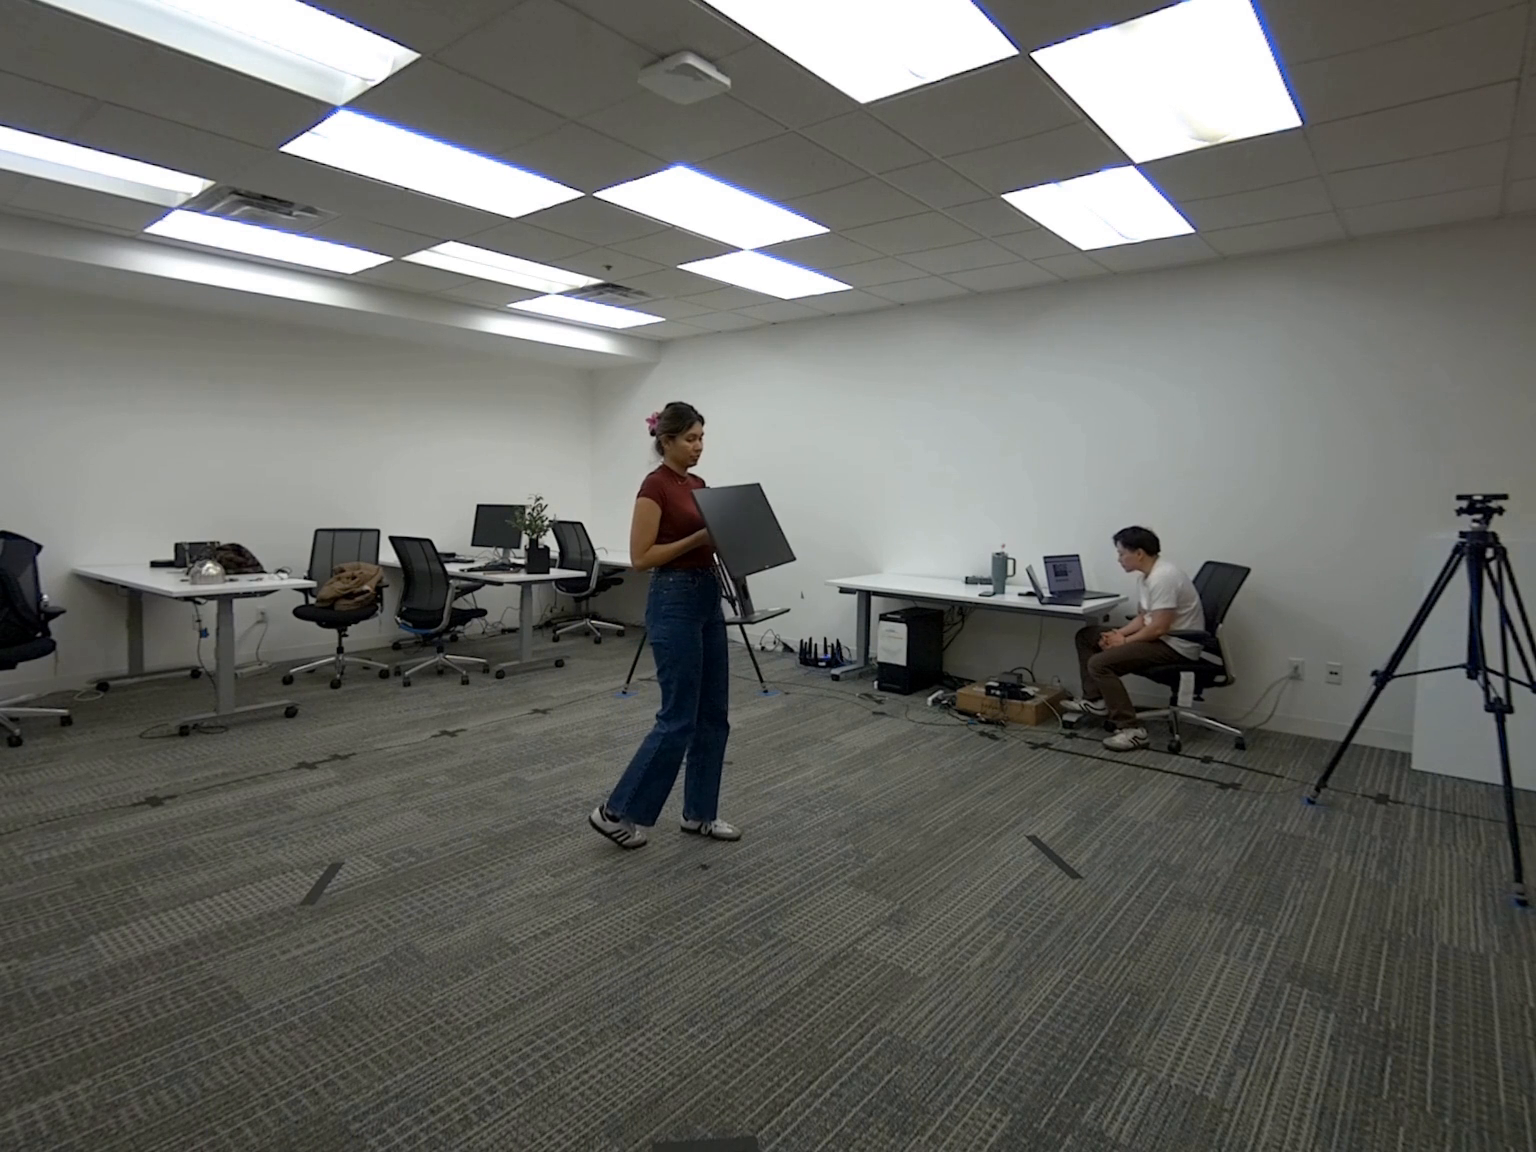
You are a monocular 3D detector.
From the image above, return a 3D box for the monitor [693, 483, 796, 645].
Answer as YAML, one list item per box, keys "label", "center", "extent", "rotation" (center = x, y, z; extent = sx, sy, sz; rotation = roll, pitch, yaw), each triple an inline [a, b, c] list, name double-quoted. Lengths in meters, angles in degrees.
- label: "monitor"
  center: [-0.099, -0.088, 3.236]
  extent: [0.191, 0.523, 0.528]
  rotation: [-13, 1, 27]
